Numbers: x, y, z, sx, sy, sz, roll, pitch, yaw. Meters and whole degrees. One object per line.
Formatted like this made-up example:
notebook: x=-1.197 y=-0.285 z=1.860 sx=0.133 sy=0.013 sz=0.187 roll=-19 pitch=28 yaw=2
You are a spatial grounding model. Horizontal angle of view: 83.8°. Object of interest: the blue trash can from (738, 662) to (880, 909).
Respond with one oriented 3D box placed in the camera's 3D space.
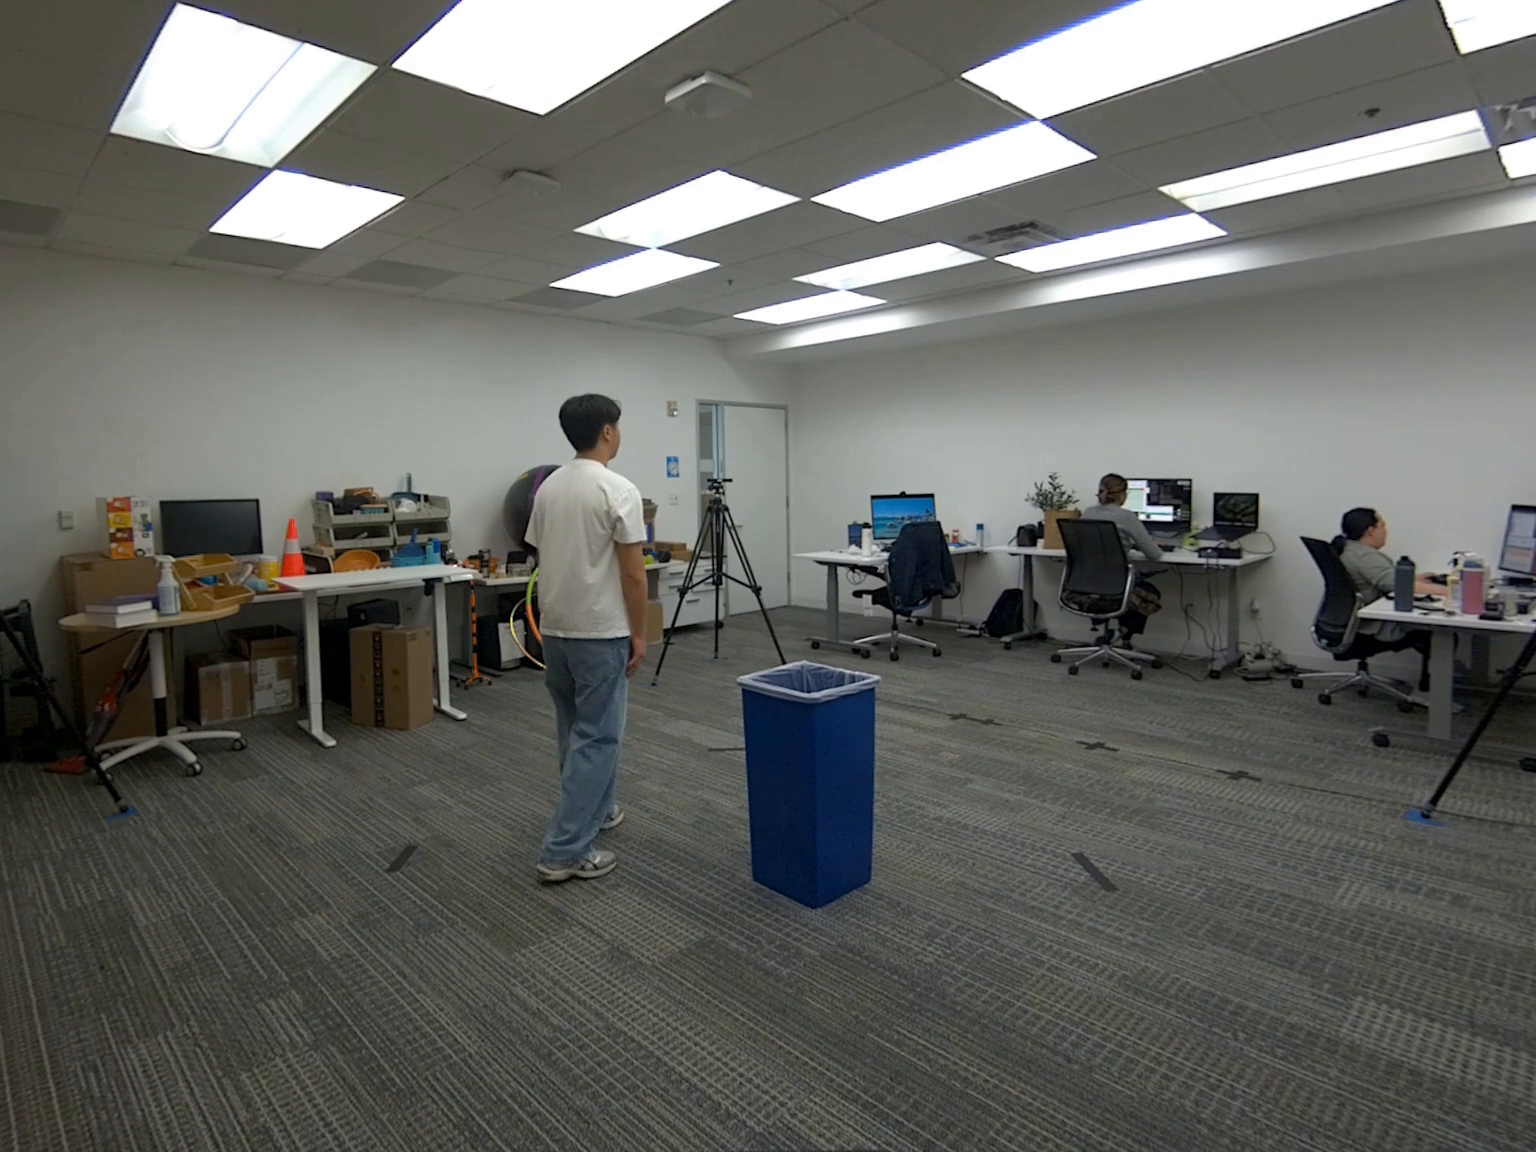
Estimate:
blue trash can: x=0.148 y=0.703 z=2.939 sx=0.364 sy=0.711 sz=0.389 roll=-4 pitch=5 yaw=-44
